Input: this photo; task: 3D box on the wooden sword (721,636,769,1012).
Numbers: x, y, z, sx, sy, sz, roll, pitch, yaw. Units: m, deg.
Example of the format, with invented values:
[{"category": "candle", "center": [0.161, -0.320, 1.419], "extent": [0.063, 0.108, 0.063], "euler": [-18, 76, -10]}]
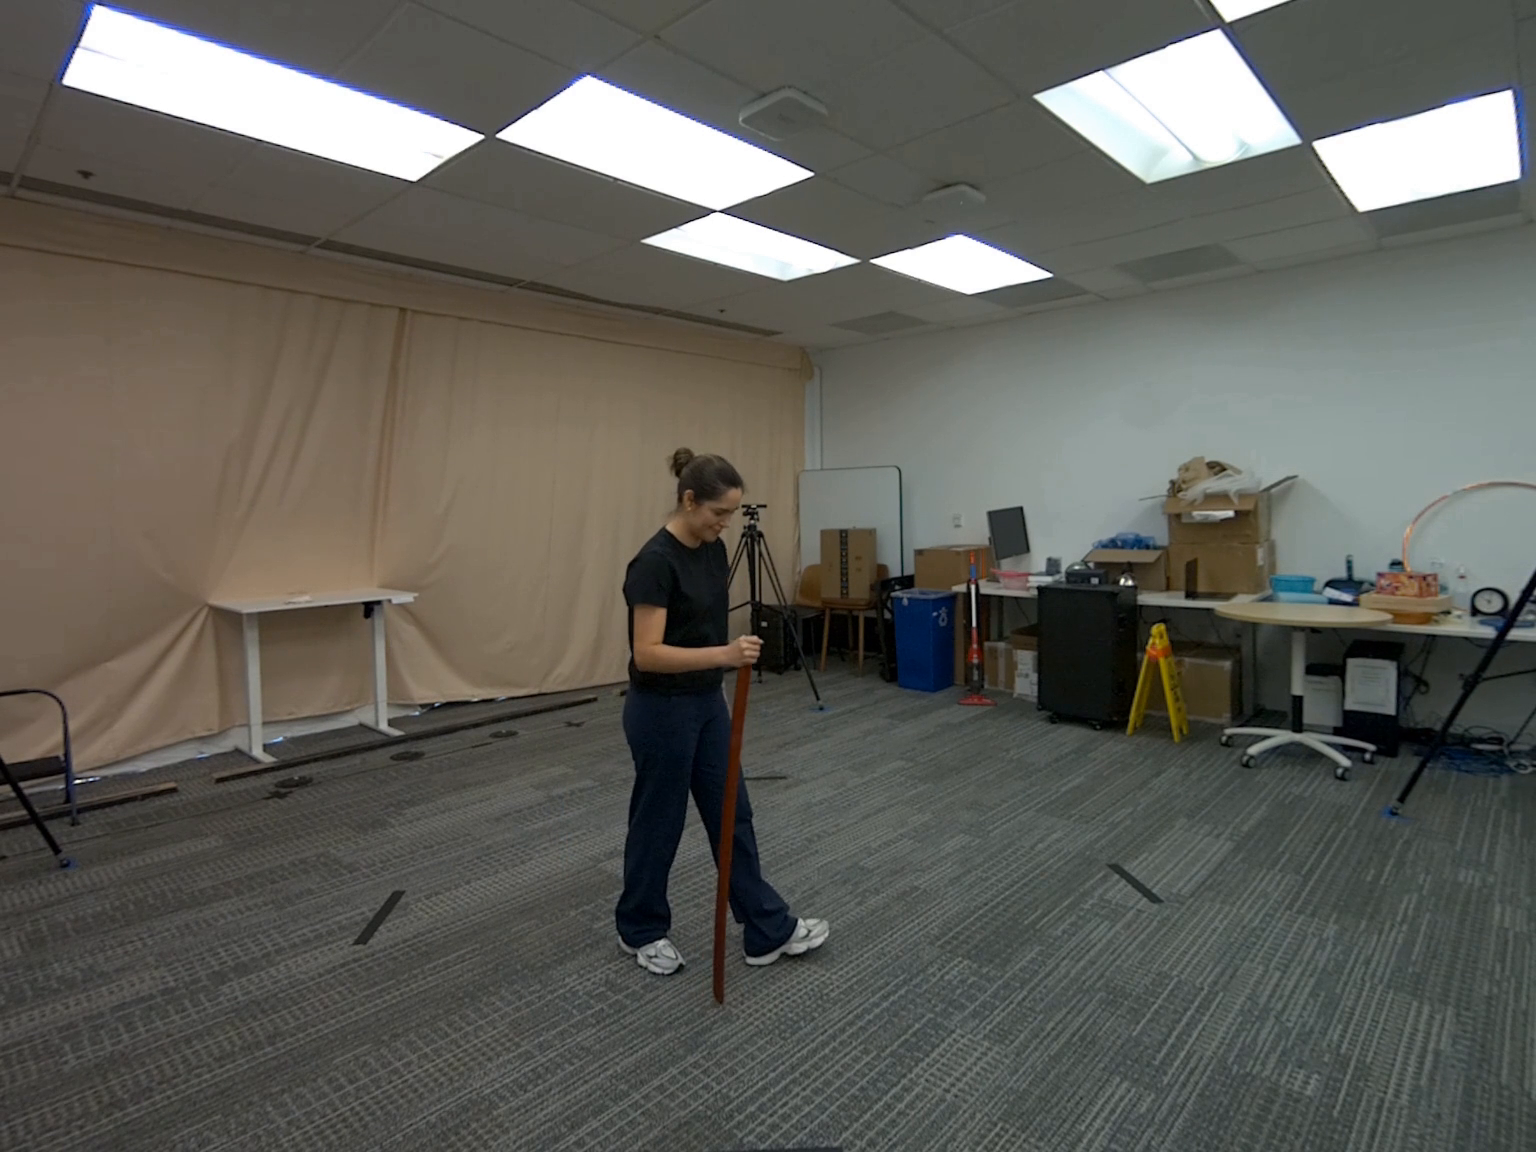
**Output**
[{"category": "wooden sword", "center": [-0.065, 0.676, 2.311], "extent": [0.023, 1.023, 0.053], "euler": [3, 4, -29]}]
